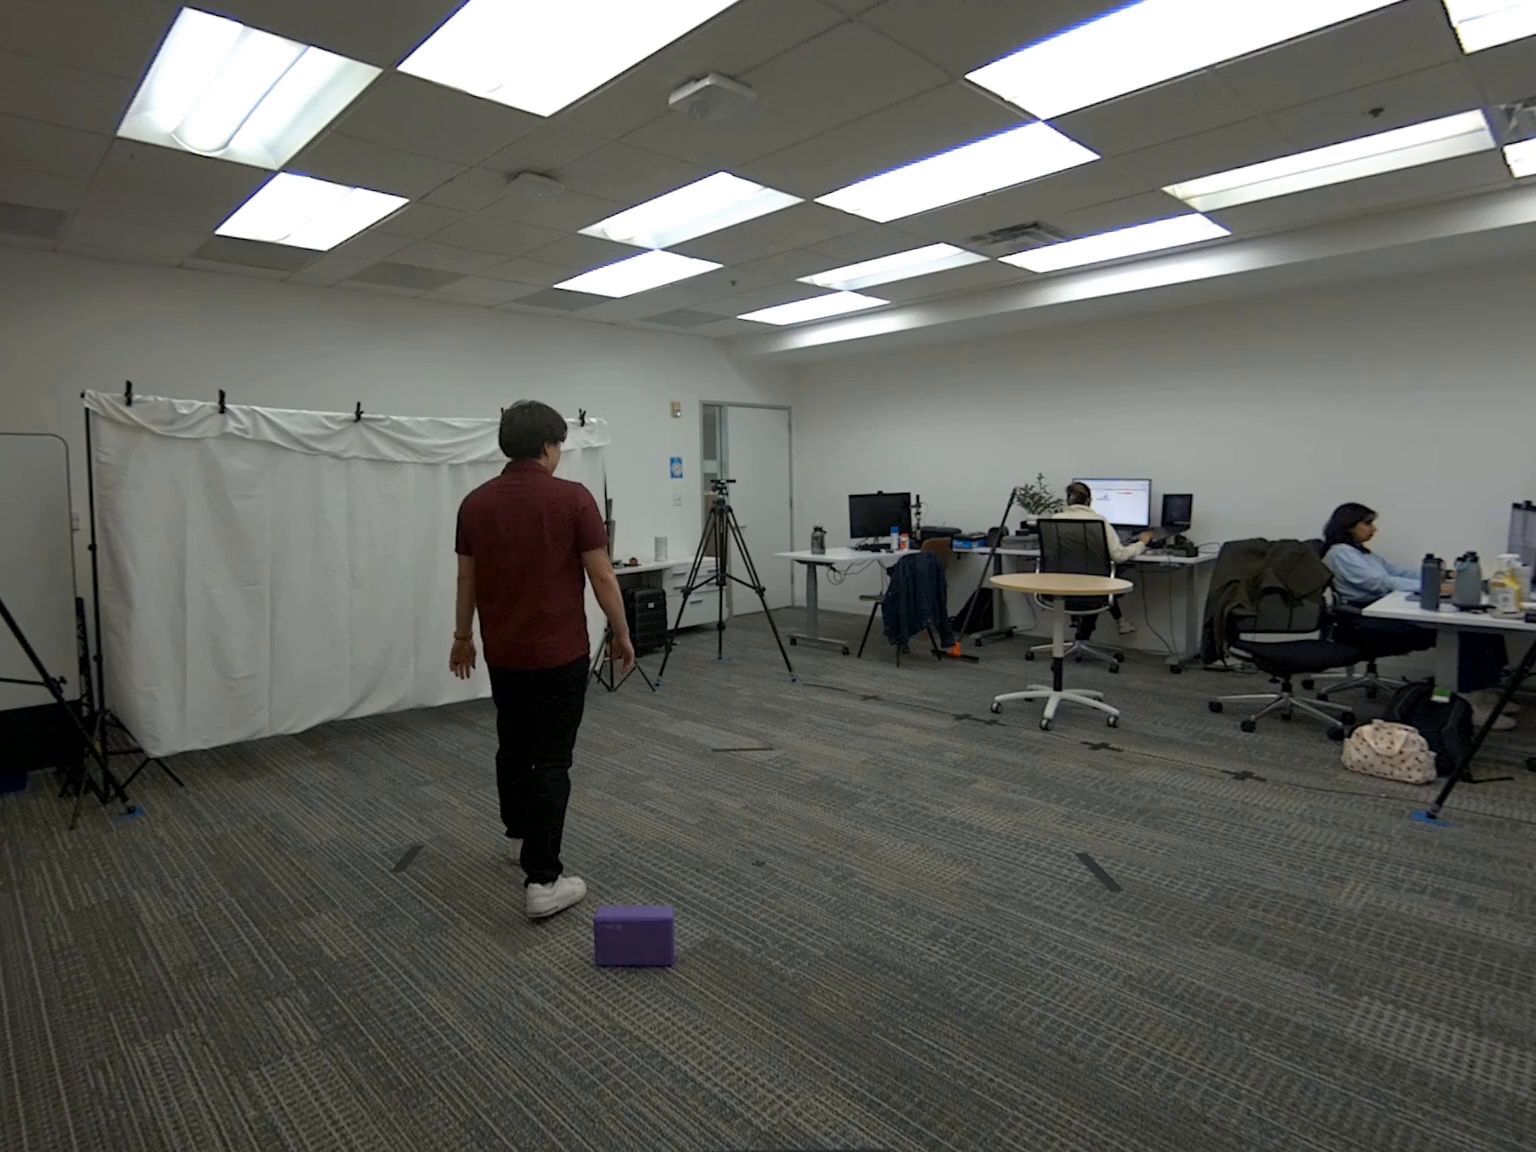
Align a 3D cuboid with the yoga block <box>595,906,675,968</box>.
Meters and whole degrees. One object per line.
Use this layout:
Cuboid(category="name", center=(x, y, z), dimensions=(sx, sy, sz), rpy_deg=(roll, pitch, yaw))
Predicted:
Cuboid(category="yoga block", center=(-0.386, 1.047, 2.492), dimensions=(0.230, 0.148, 0.076), rpy_deg=(-2, 4, 1))
